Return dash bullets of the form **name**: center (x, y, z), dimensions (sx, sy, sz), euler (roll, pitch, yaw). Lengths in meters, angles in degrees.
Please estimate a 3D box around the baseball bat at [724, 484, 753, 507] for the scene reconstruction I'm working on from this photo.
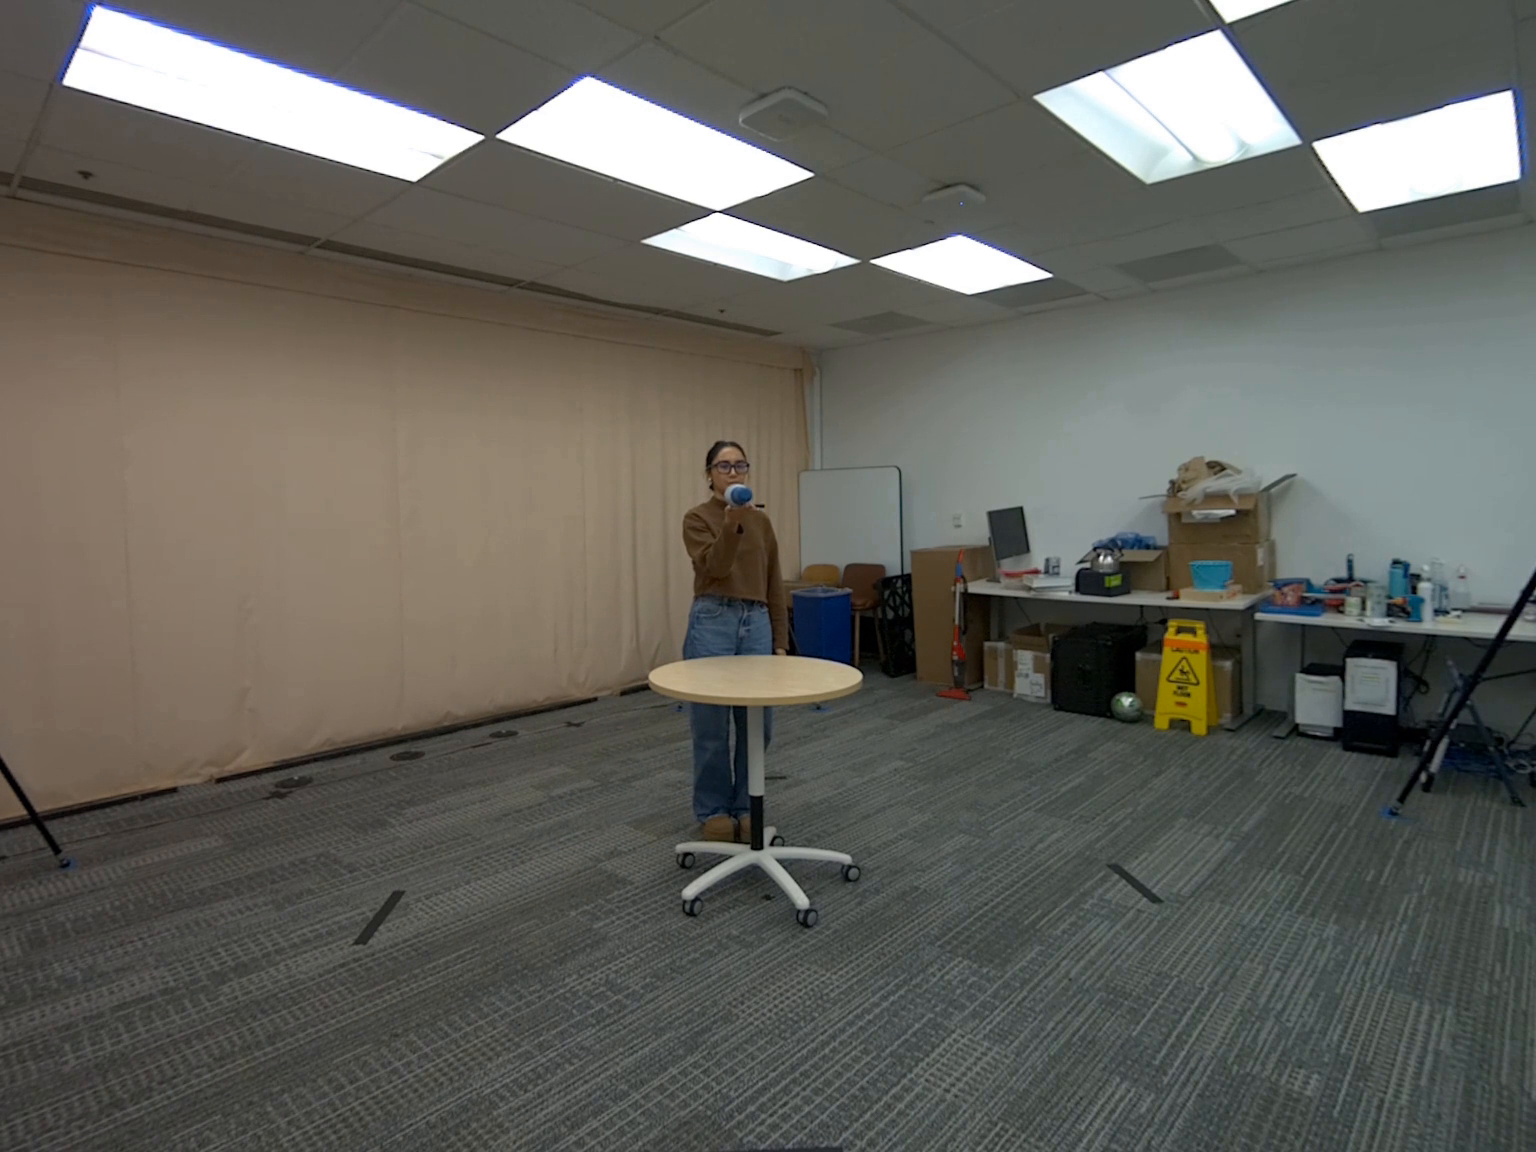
- **baseball bat**: center (-0.096, -0.283, 3.032), dimensions (0.089, 0.089, 0.546), euler (-1, 5, -4)
